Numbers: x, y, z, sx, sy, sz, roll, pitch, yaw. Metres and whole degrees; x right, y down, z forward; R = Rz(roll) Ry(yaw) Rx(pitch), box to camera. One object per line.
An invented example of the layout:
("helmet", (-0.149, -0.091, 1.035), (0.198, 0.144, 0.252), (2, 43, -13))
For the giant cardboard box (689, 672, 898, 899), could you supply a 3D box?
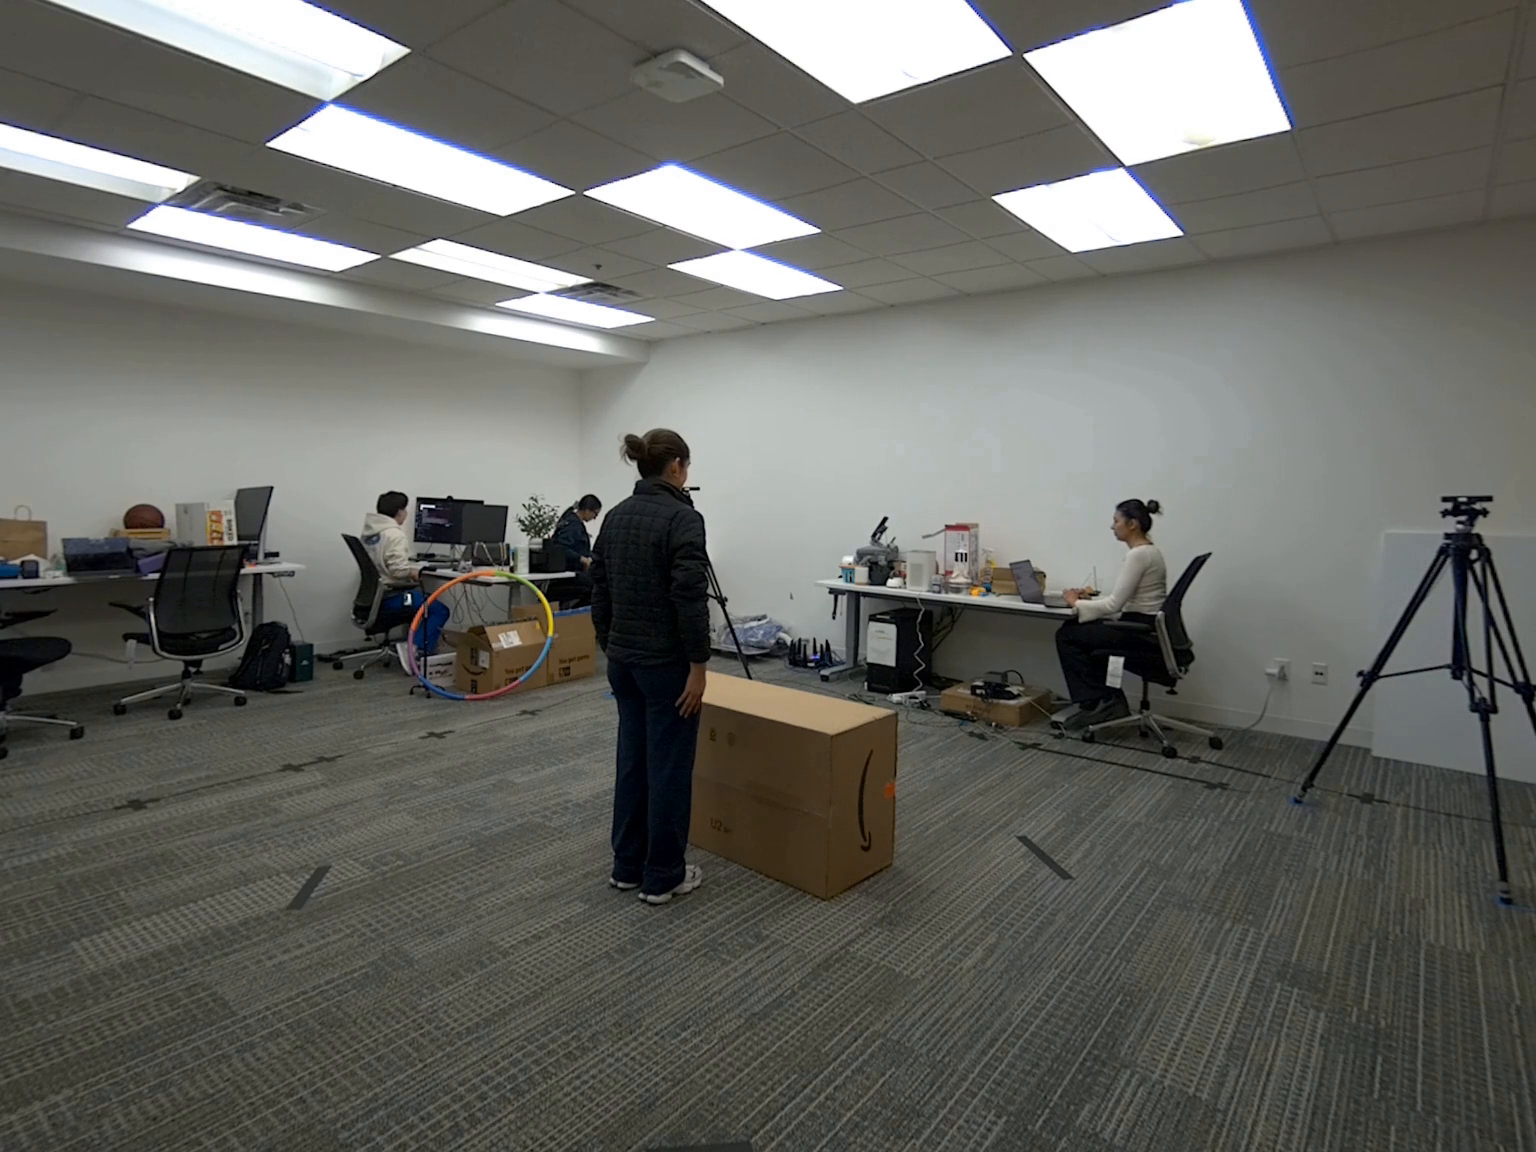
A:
("giant cardboard box", (-0.032, 0.758, 3.372), (1.062, 0.581, 0.434), (6, 7, 43))
